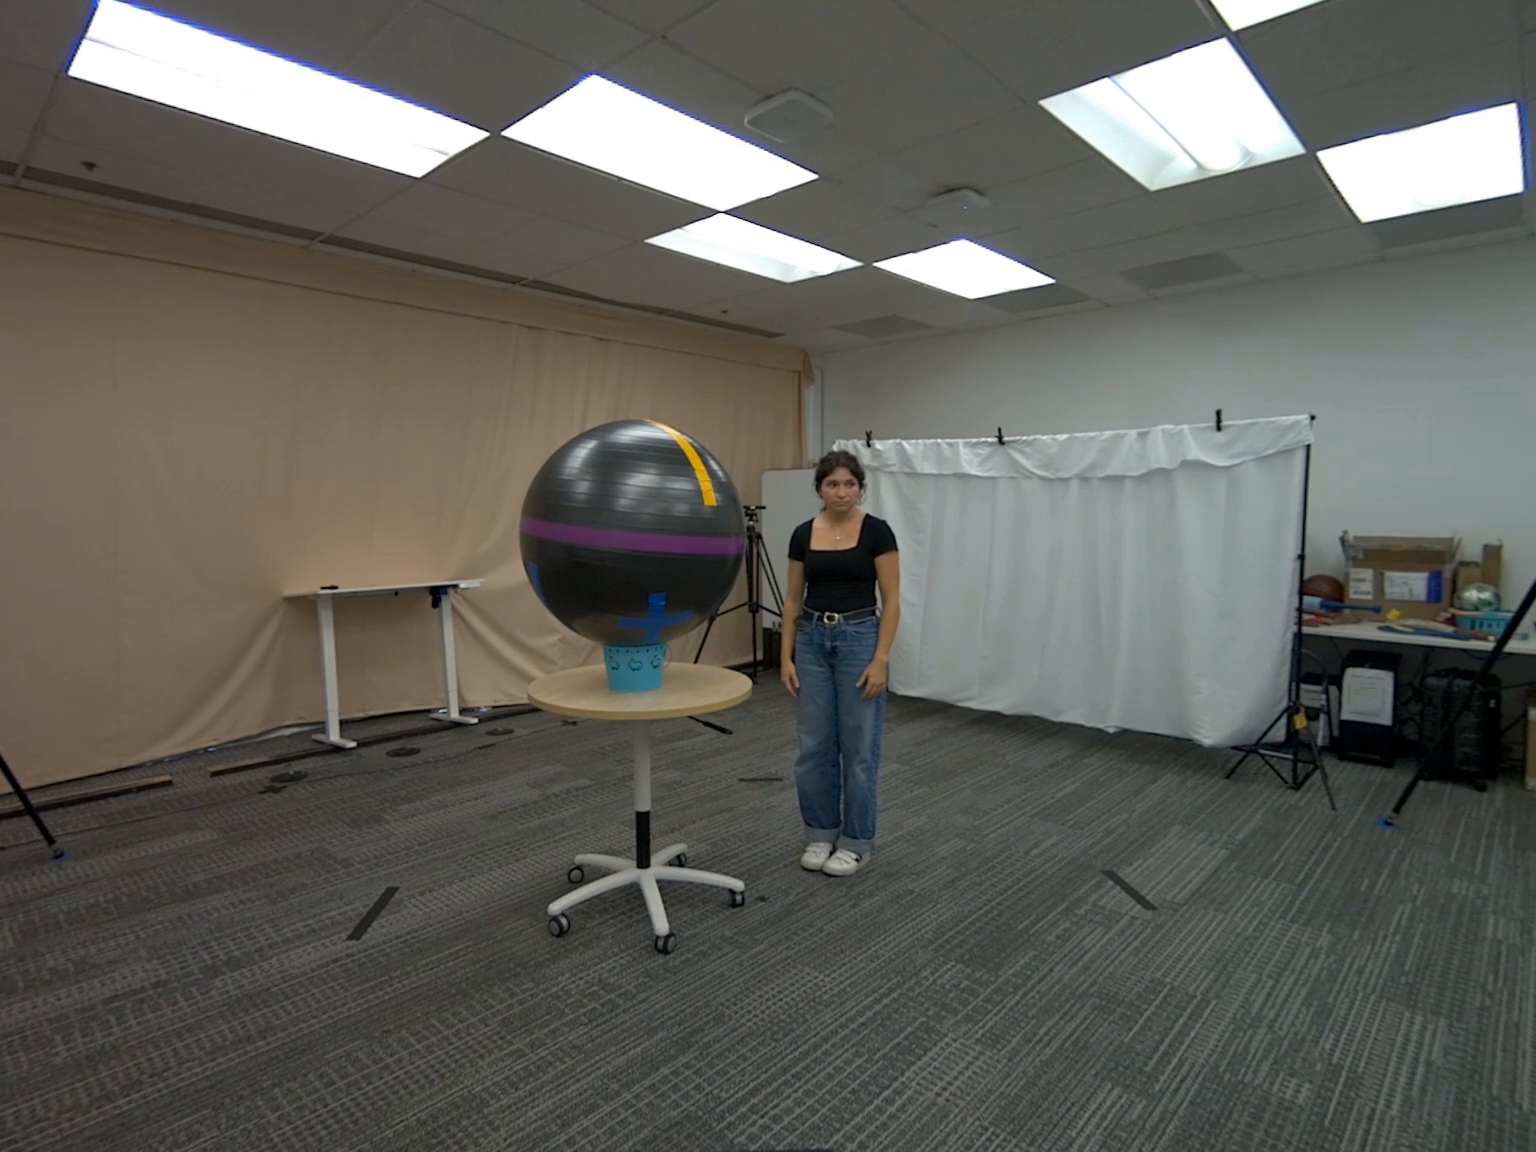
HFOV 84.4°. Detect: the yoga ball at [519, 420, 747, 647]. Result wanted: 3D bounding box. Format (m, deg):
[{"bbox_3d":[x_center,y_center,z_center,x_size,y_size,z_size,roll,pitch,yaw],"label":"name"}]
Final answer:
[{"bbox_3d":[-0.462,-0.140,2.836,0.757,0.756,0.760,0,4,-2],"label":"yoga ball"}]
